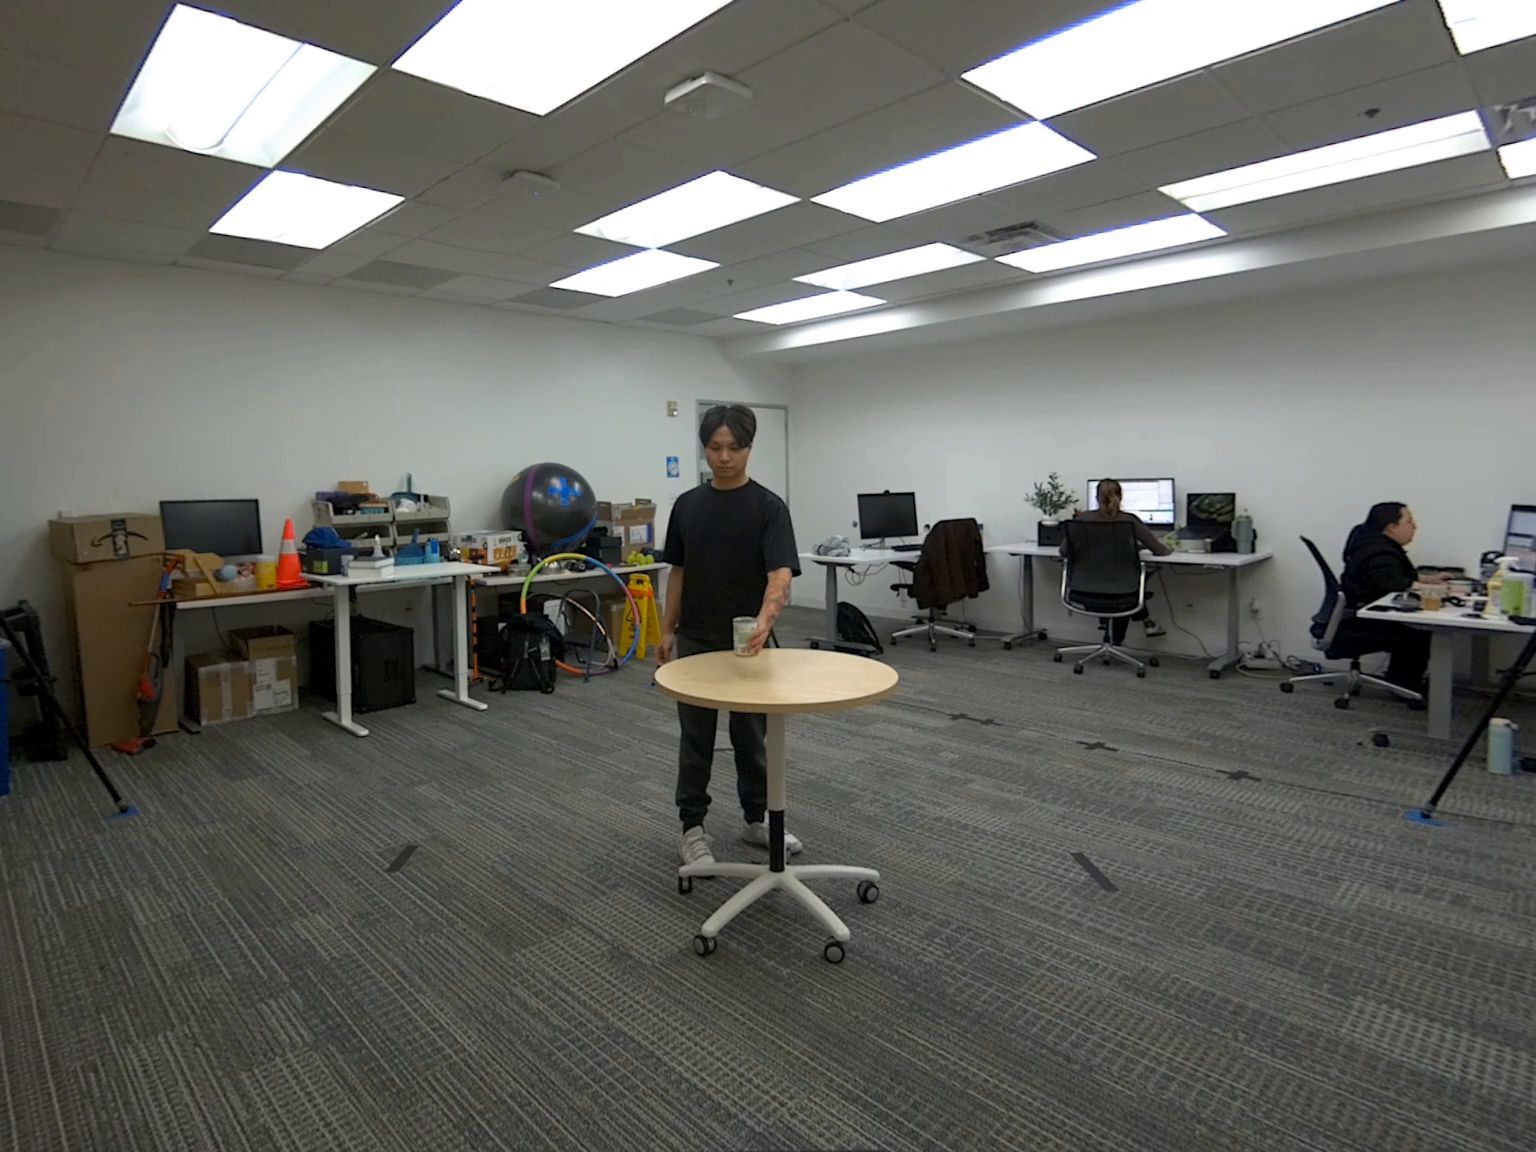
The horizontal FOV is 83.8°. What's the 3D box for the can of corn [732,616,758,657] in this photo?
[{"bbox_3d":[-0.047,0.188,2.638,0.074,0.111,0.074,-5,1,-2],"label":"can of corn"}]
